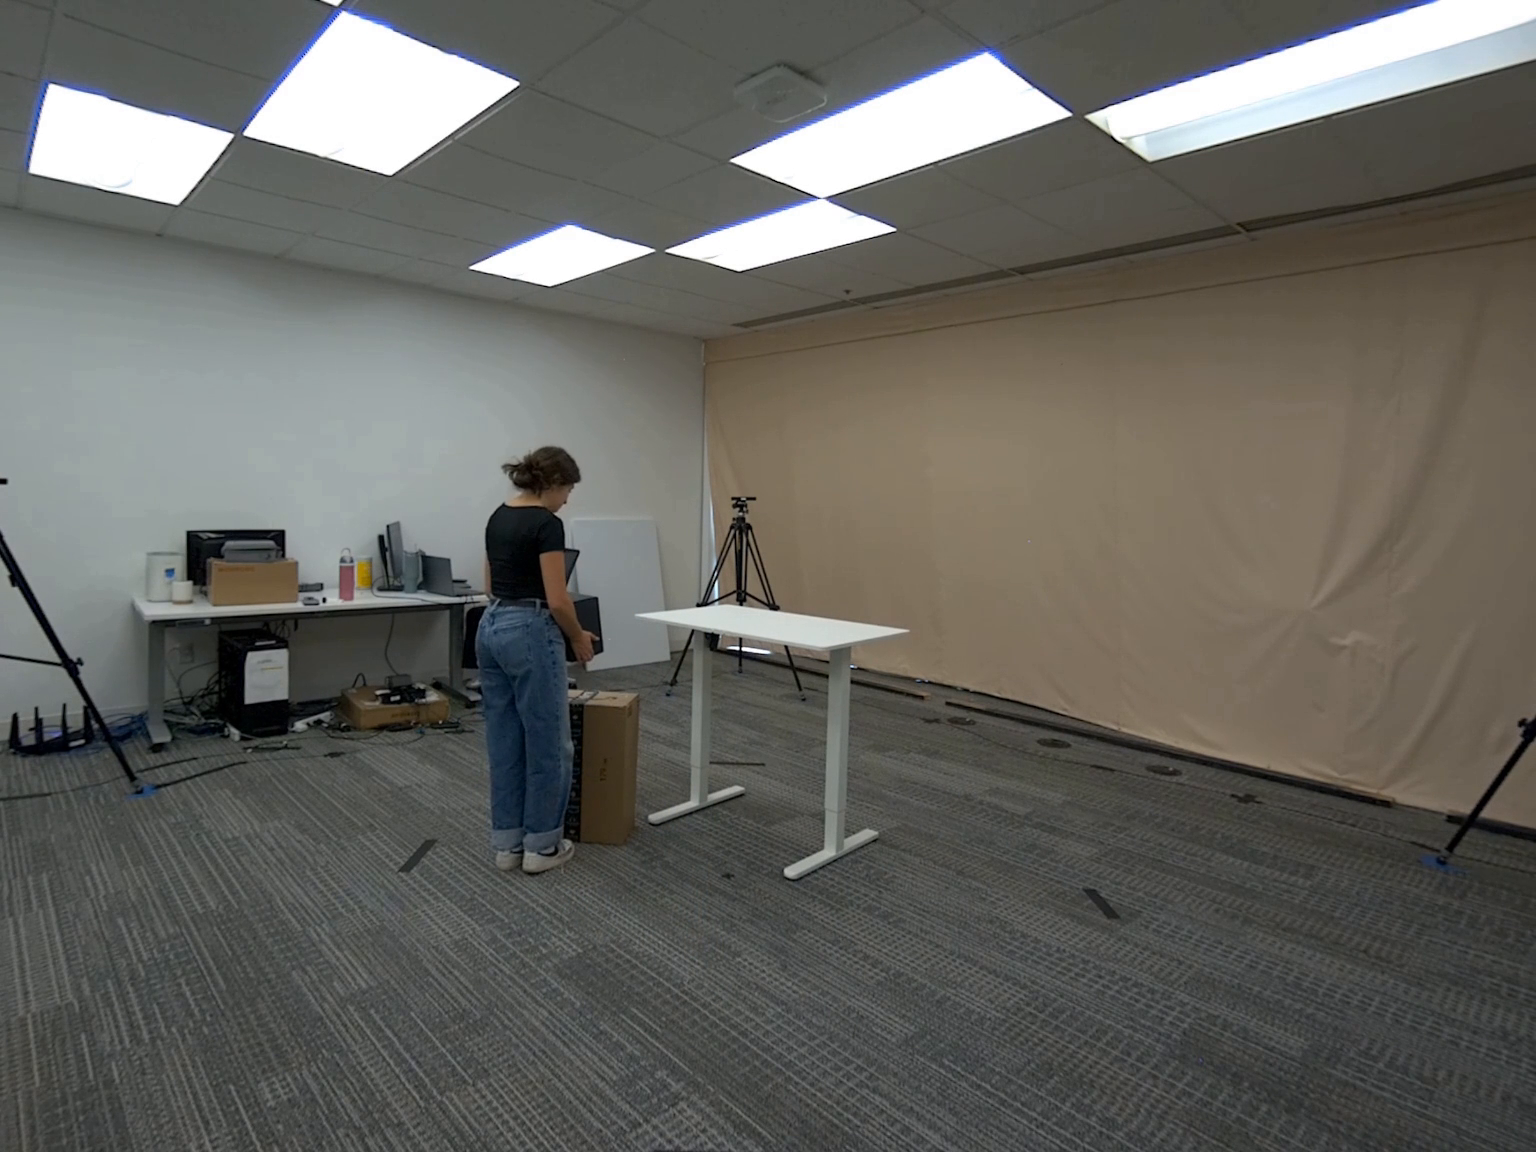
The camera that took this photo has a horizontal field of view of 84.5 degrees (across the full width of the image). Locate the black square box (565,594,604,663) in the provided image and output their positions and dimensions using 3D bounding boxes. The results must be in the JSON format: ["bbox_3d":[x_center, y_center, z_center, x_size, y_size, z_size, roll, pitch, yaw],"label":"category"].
[{"bbox_3d":[-0.792,0.196,3.320,0.222,0.226,0.153,4,12,43],"label":"black square box"}]
